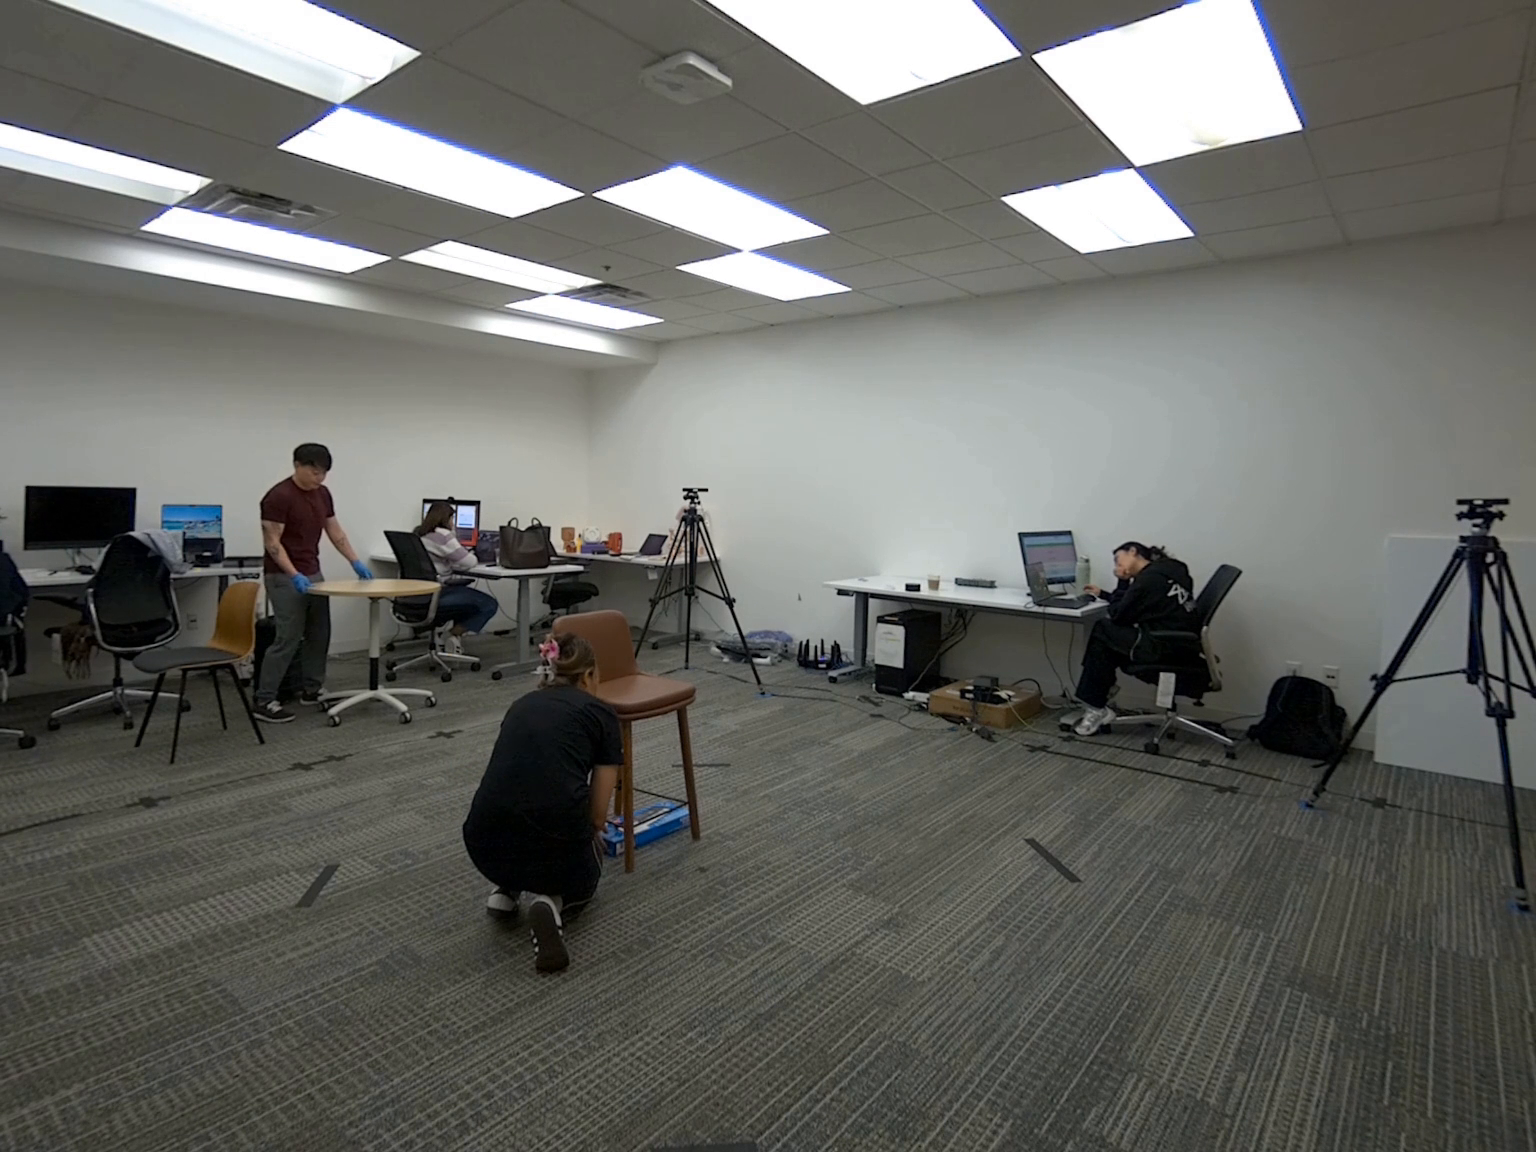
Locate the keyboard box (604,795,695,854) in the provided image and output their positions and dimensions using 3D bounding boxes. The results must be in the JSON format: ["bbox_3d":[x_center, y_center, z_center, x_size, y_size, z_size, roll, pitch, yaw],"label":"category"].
[{"bbox_3d":[-0.512,0.998,3.407,0.182,0.059,0.424,5,7,39],"label":"keyboard box"}]
